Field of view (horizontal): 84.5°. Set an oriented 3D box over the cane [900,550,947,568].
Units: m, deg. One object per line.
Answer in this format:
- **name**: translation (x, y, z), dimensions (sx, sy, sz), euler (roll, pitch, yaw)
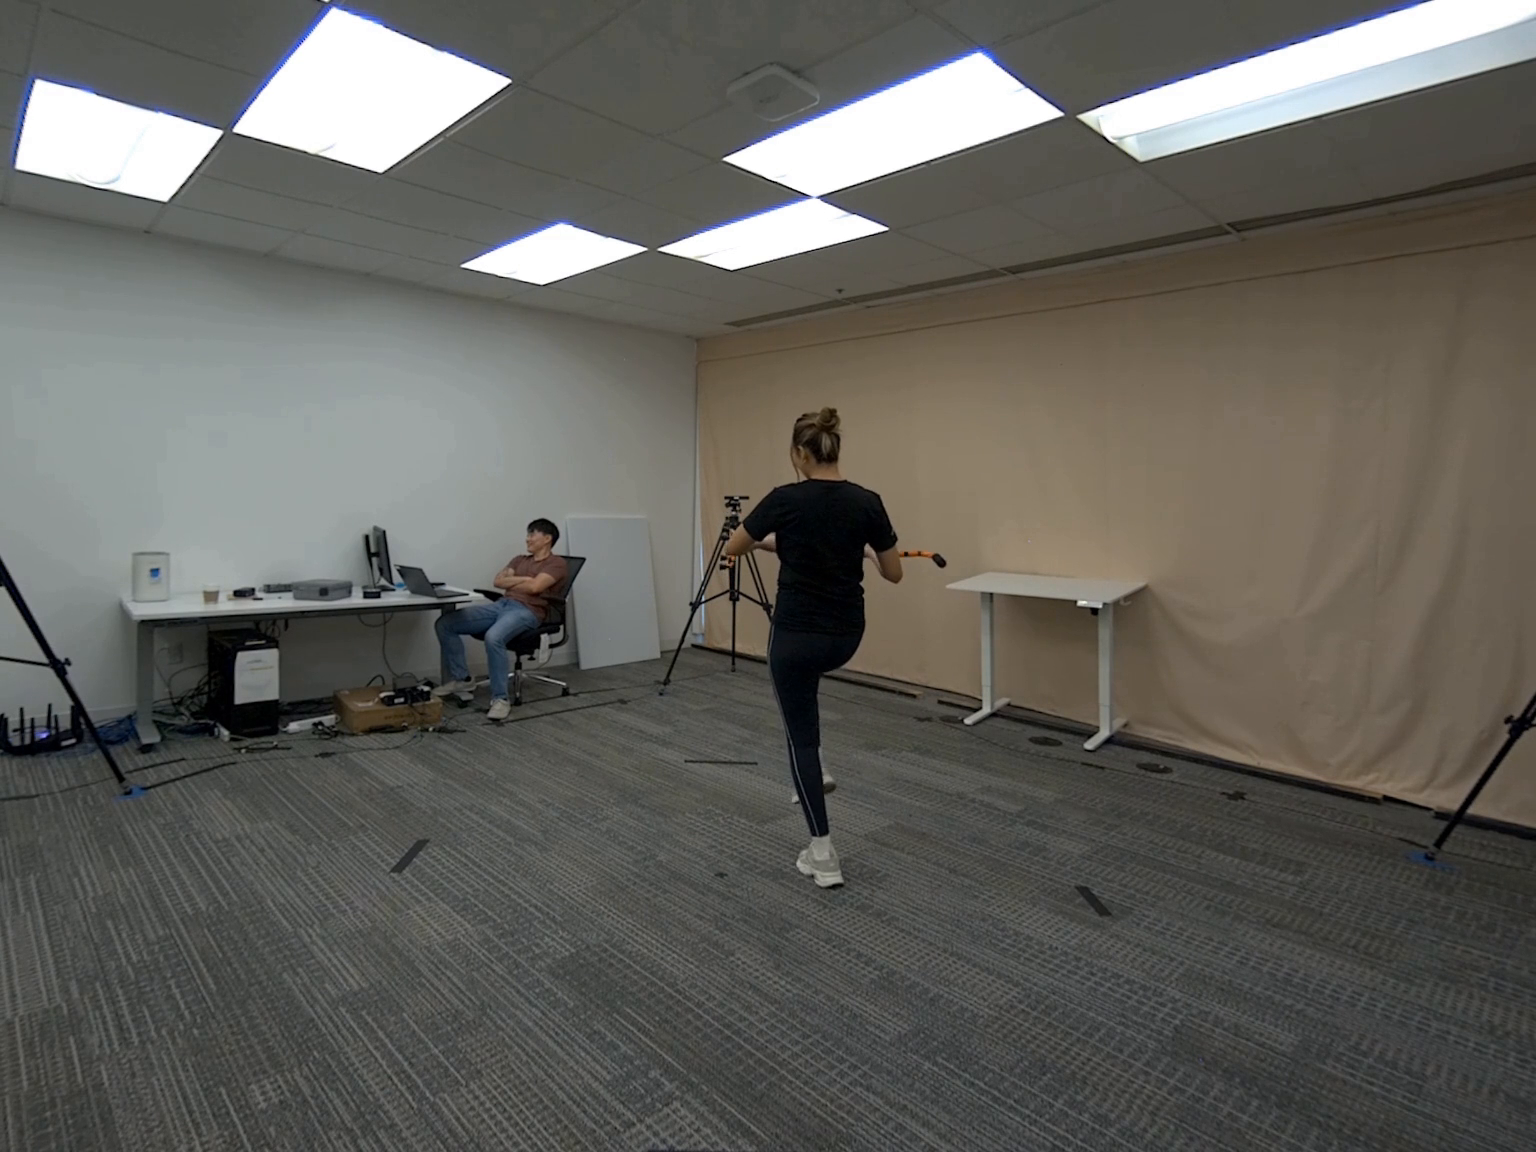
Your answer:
- **cane**: translation (0.246, -0.097, 3.452), dimensions (0.913, 0.150, 0.207), euler (3, 14, 6)
